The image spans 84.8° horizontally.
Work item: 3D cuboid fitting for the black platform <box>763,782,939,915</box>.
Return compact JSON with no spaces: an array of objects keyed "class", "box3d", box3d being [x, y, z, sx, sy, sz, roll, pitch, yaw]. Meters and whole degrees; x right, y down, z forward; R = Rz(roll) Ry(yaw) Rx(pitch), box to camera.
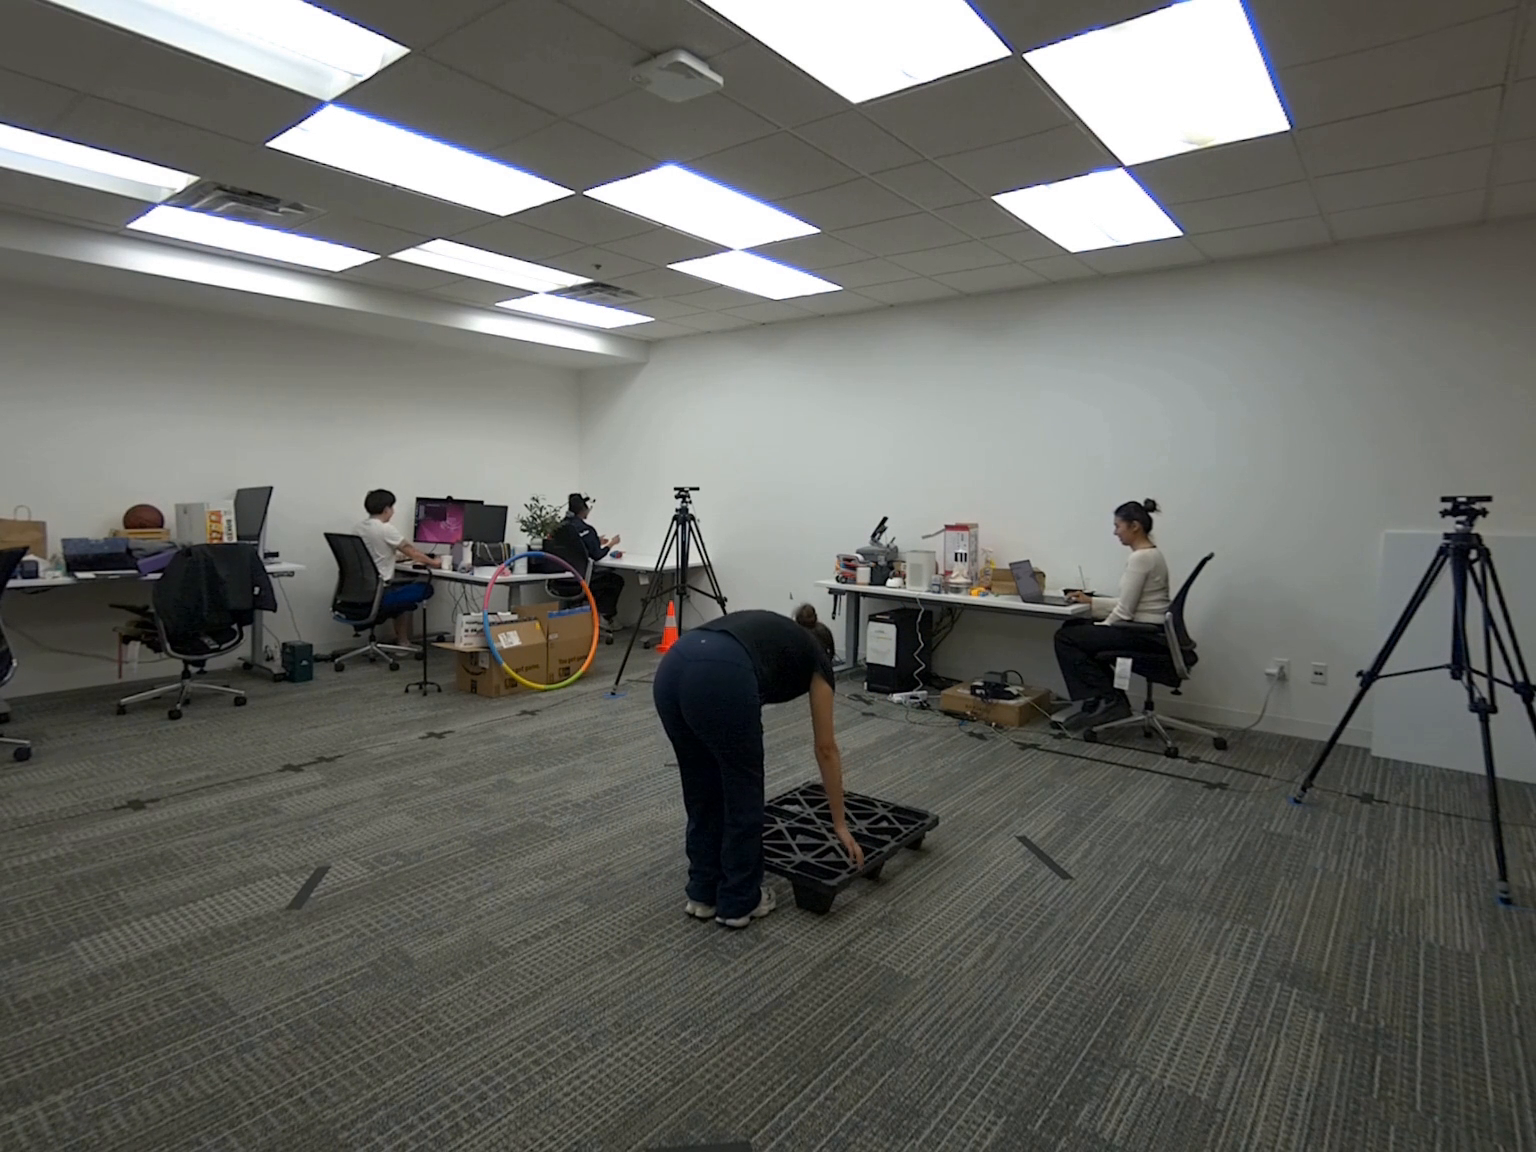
[{"class":"black platform","box3d":[0.212,0.998,3.209,0.625,0.143,0.782,4,6,38]}]
